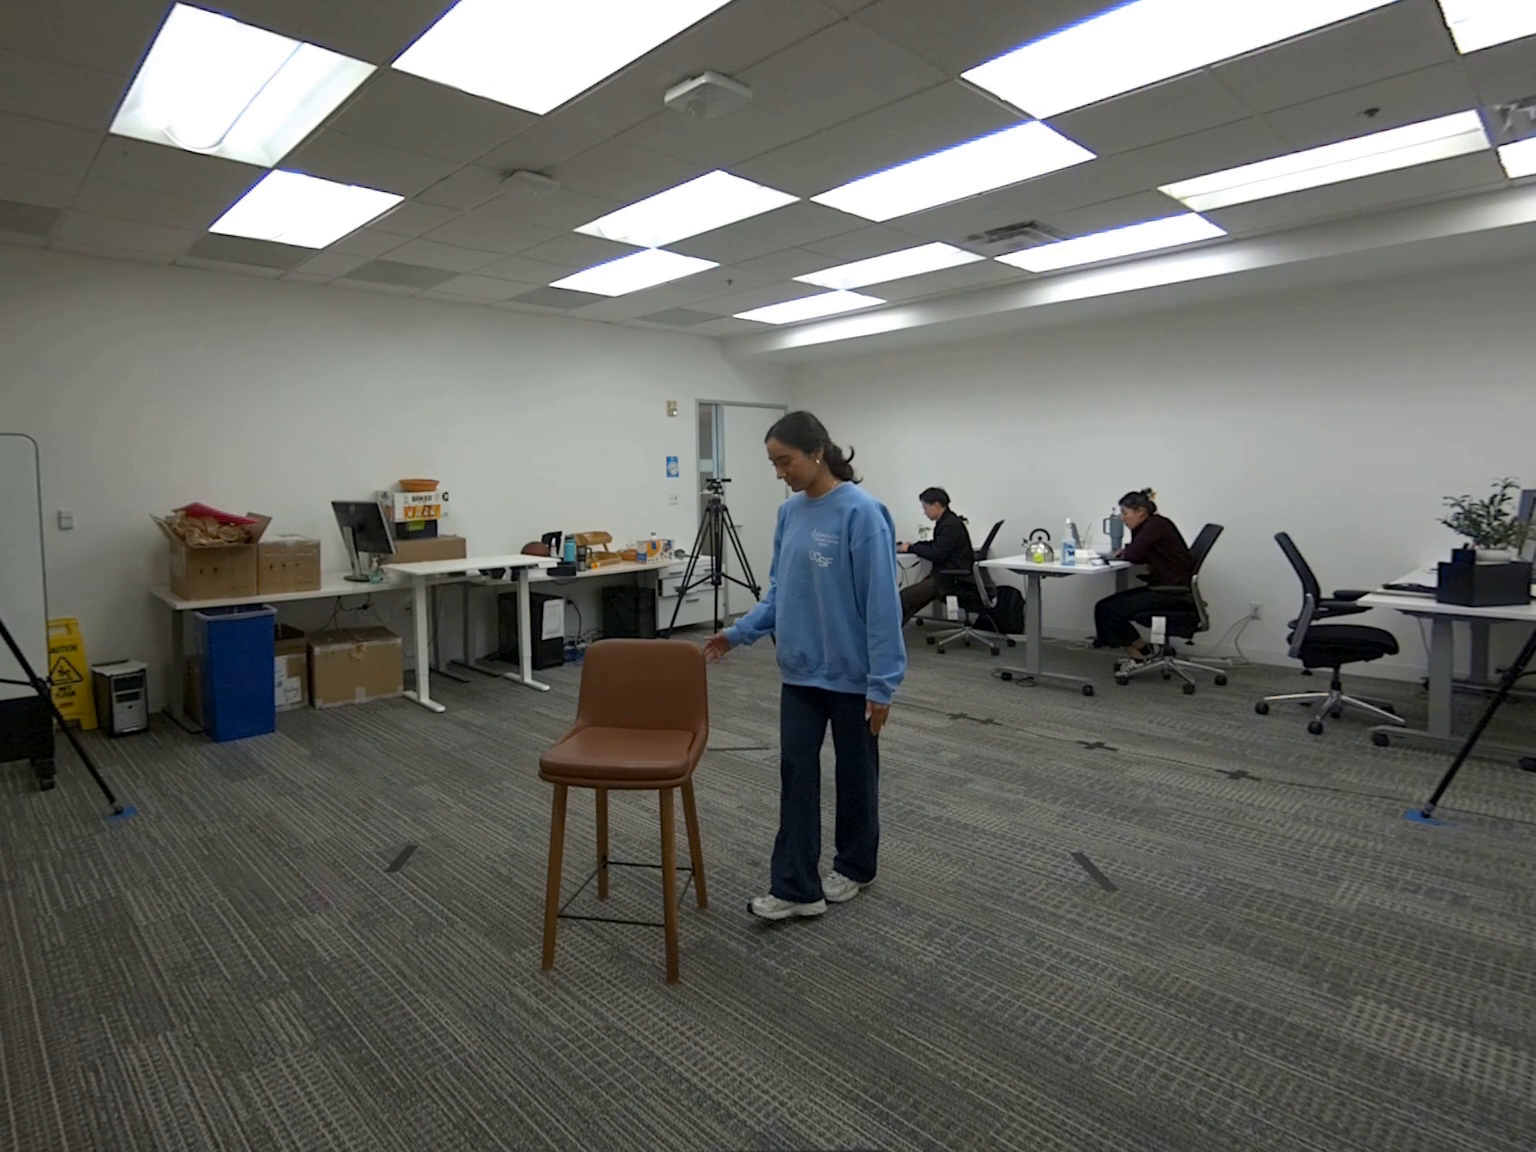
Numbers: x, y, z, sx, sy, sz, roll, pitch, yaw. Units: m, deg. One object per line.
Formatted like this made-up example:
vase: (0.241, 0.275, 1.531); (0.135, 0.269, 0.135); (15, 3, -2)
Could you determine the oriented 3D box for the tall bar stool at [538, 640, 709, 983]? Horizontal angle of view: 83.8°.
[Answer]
tall bar stool: (-0.417, 0.674, 2.603); (0.462, 0.887, 0.463); (0, 3, 11)
